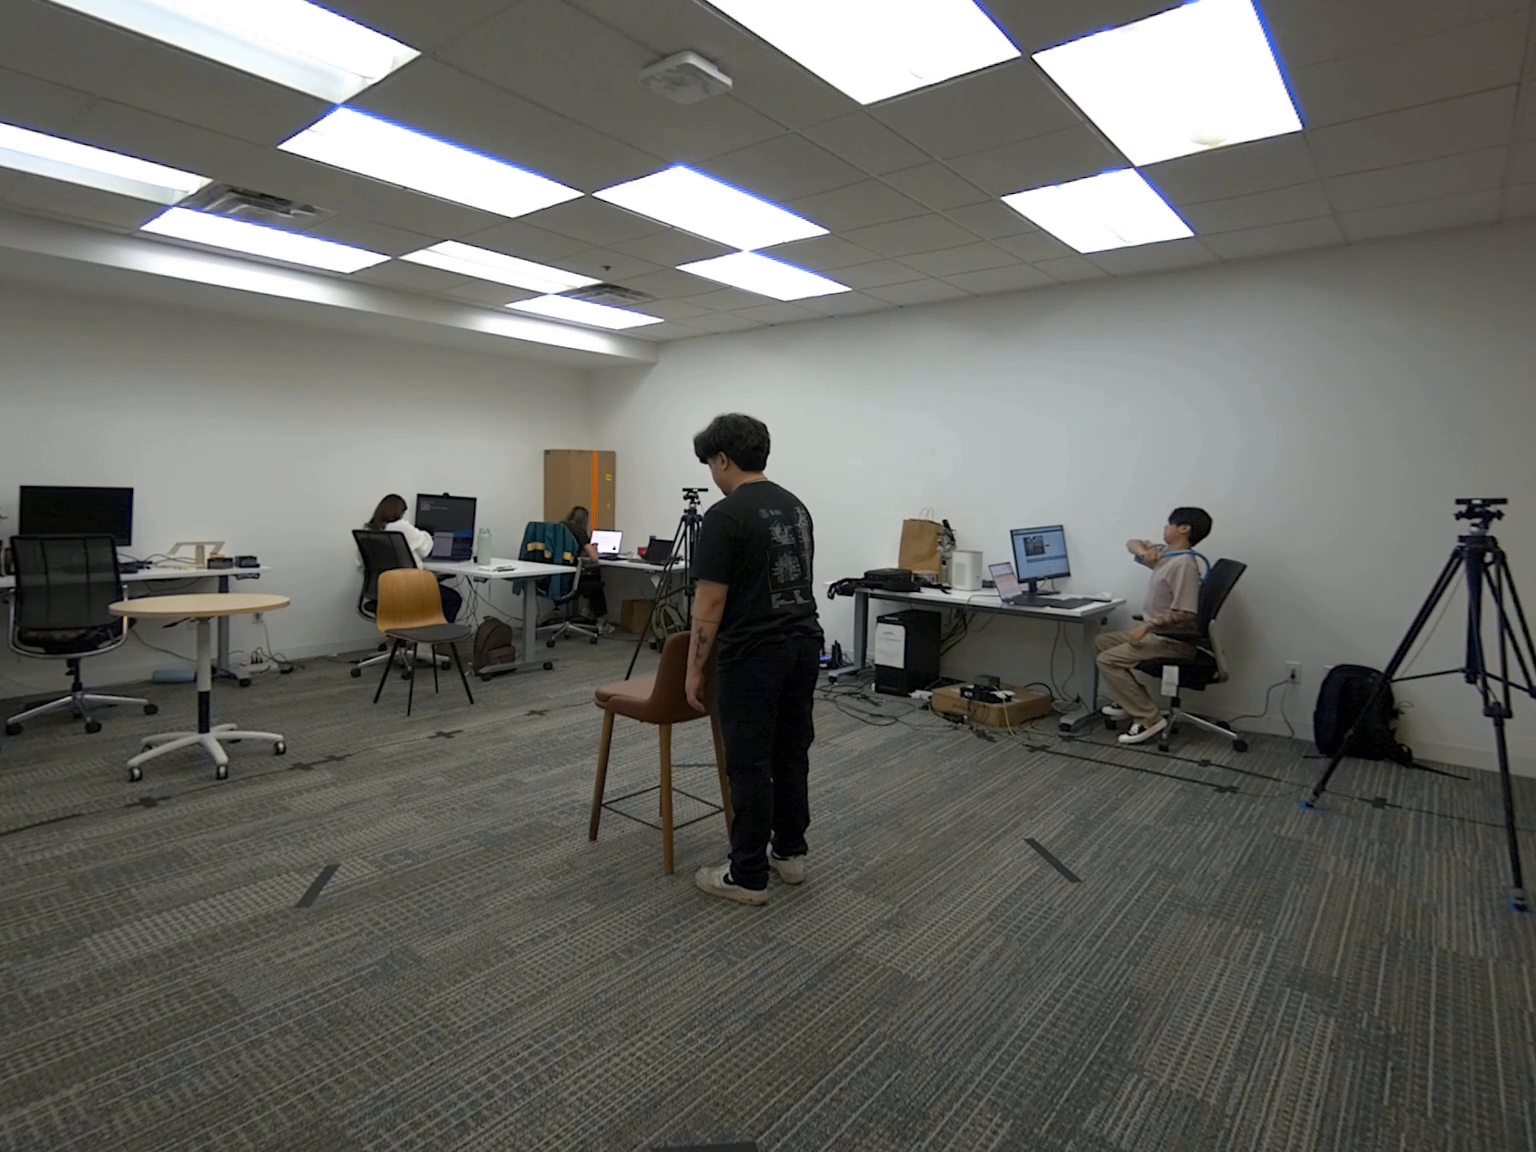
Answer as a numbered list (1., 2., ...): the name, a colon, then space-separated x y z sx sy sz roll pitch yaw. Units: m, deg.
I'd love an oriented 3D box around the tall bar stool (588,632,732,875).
1. tall bar stool: -0.404 0.610 3.315 0.484 0.887 0.442 6 5 41
